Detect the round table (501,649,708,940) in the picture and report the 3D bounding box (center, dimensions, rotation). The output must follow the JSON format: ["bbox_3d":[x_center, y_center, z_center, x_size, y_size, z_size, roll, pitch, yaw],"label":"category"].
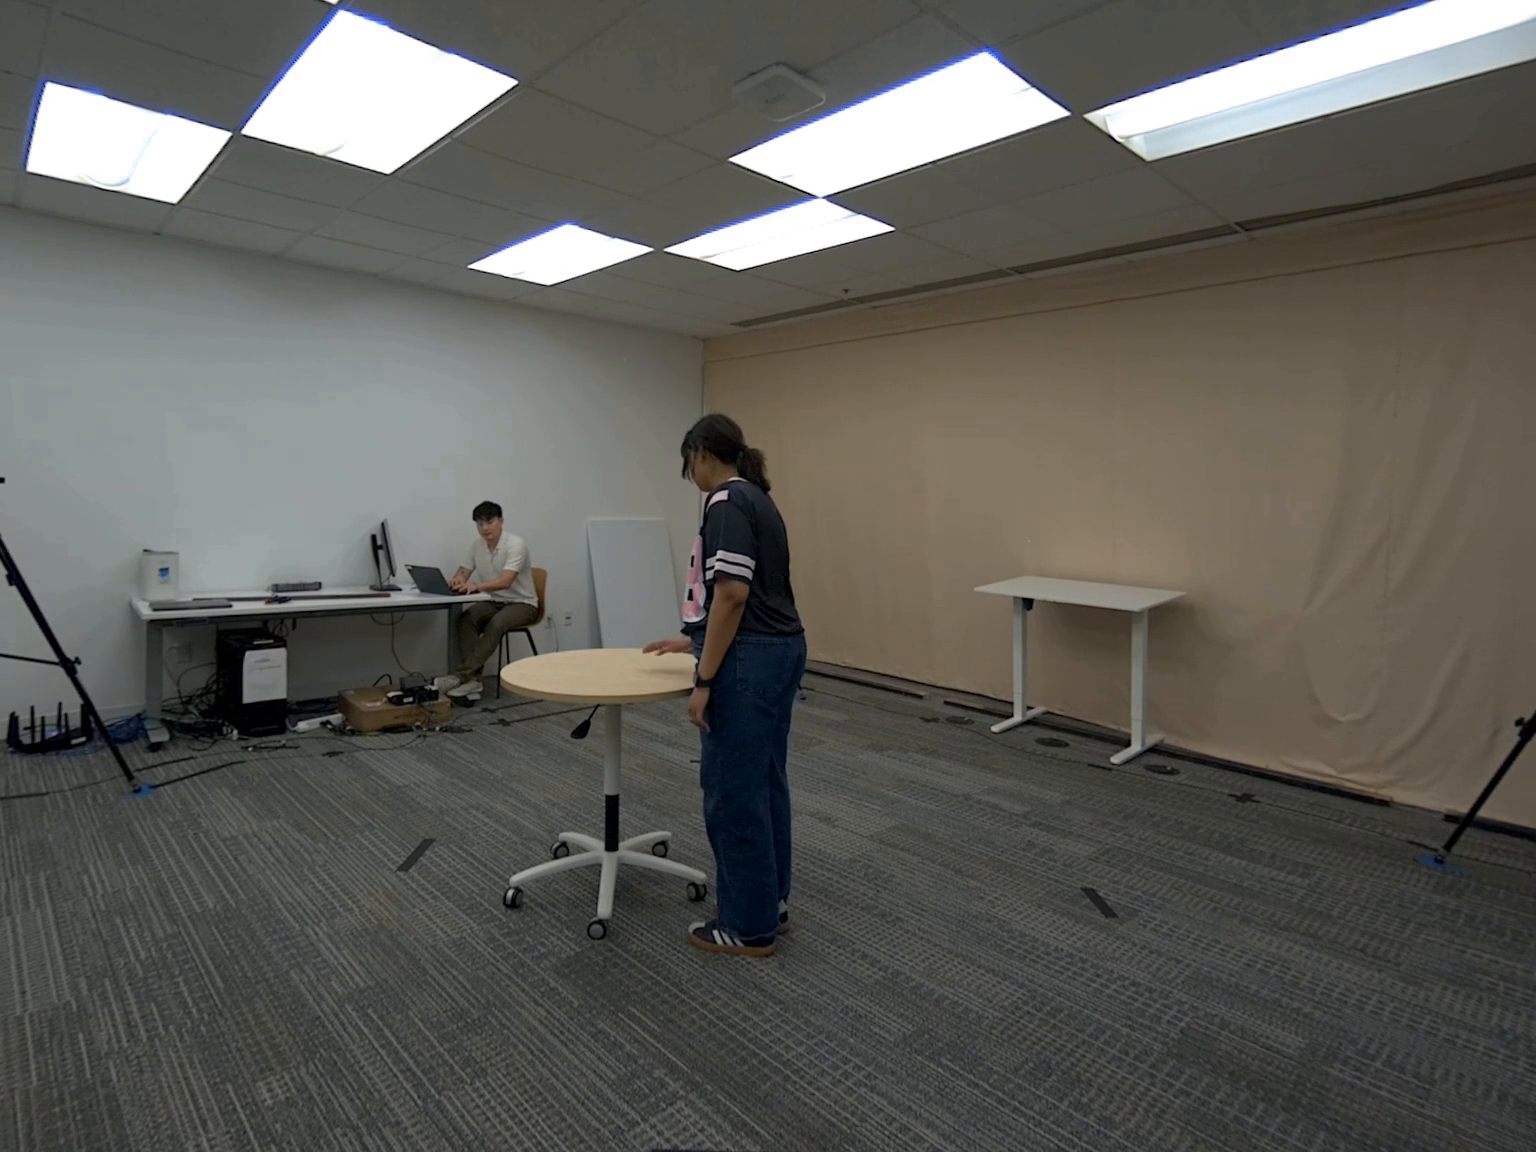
[{"bbox_3d":[-0.560,0.718,2.950,0.784,0.784,0.788,1,4,-1],"label":"round table"}]
